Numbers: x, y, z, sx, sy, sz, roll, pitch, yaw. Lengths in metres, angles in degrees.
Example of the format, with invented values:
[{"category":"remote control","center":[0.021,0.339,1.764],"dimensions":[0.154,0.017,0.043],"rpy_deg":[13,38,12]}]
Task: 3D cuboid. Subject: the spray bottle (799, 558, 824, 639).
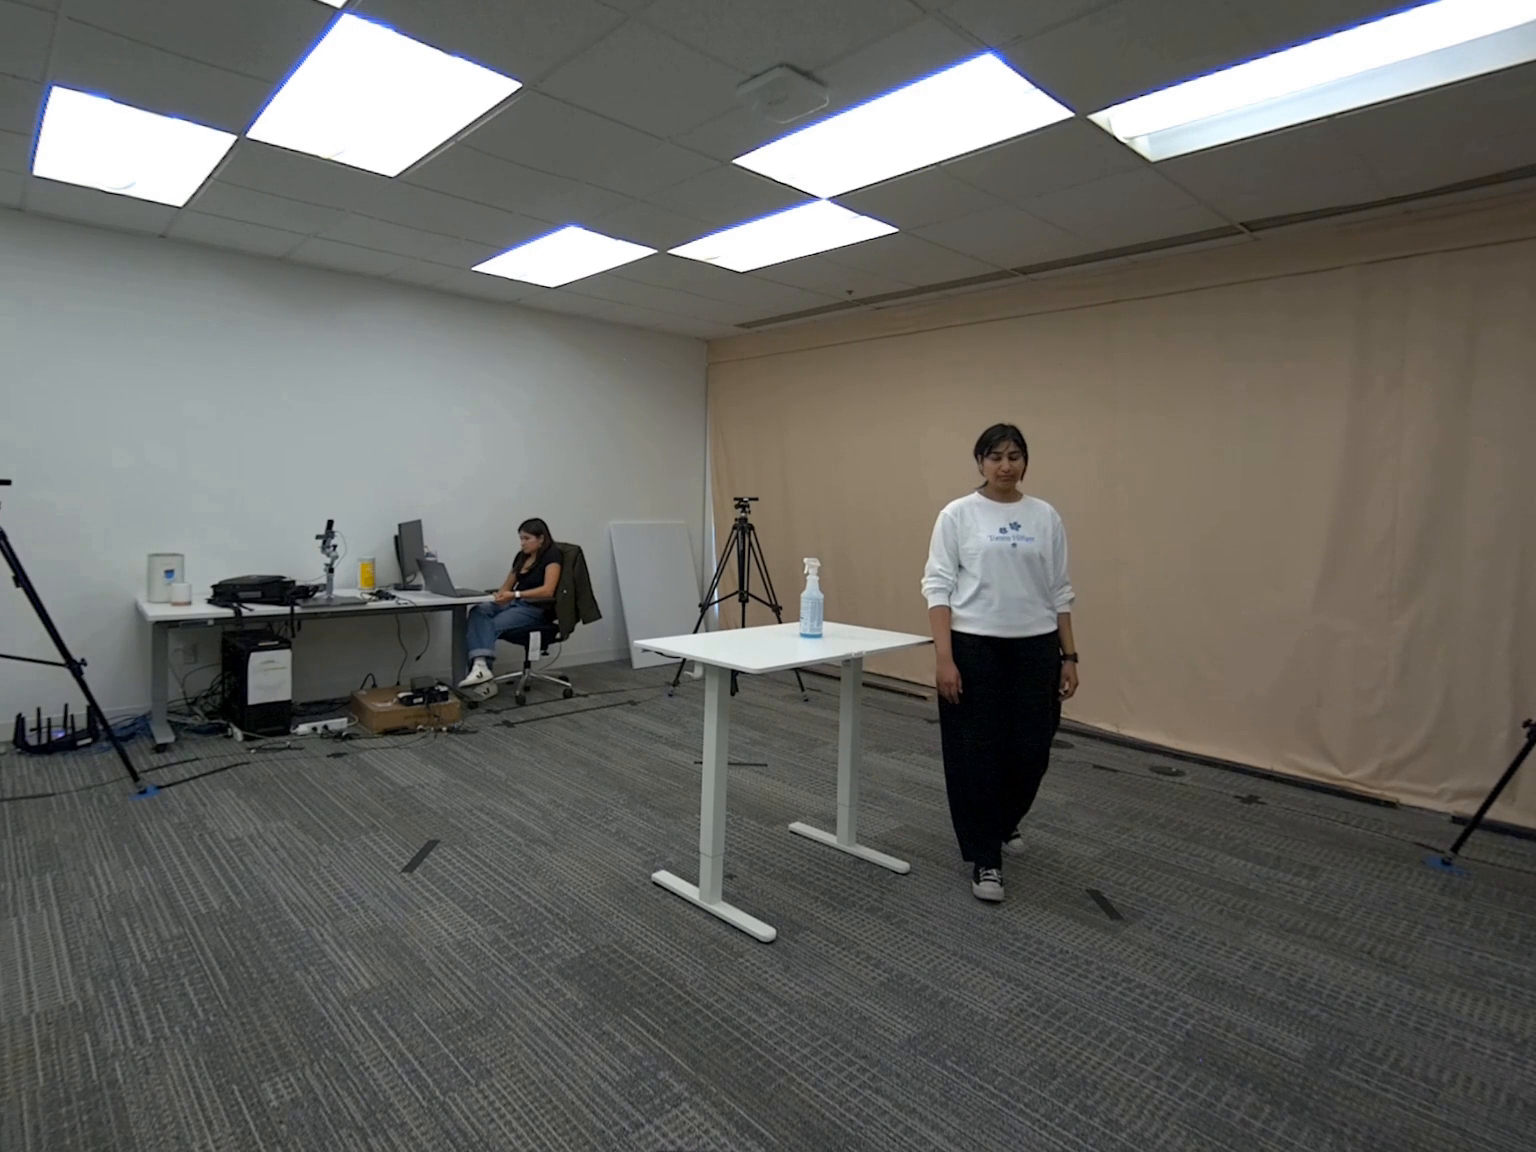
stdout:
[{"category":"spray bottle","center":[0.165,0.084,3.167],"dimensions":[0.088,0.296,0.089],"rpy_deg":[1,4,-23]}]
